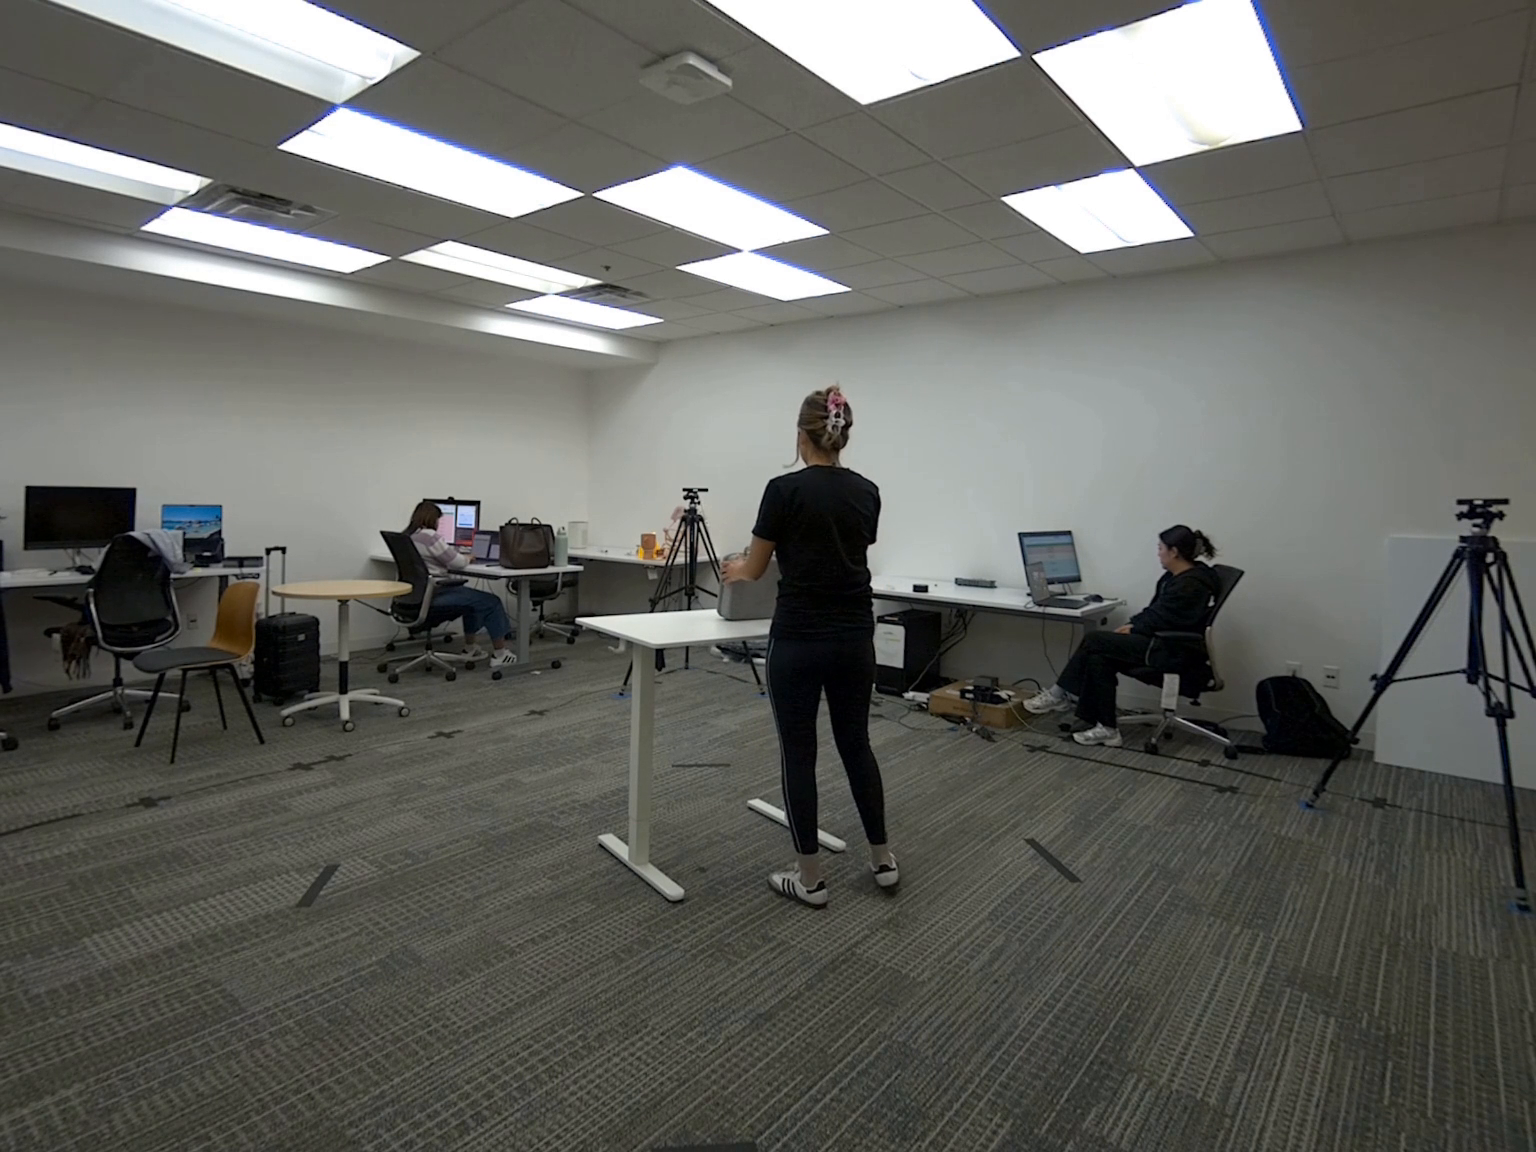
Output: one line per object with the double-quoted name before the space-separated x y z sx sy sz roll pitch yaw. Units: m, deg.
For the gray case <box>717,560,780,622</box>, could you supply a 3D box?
"gray case" -0.076 0.038 3.350 0.250 0.259 0.108 2 7 -28
